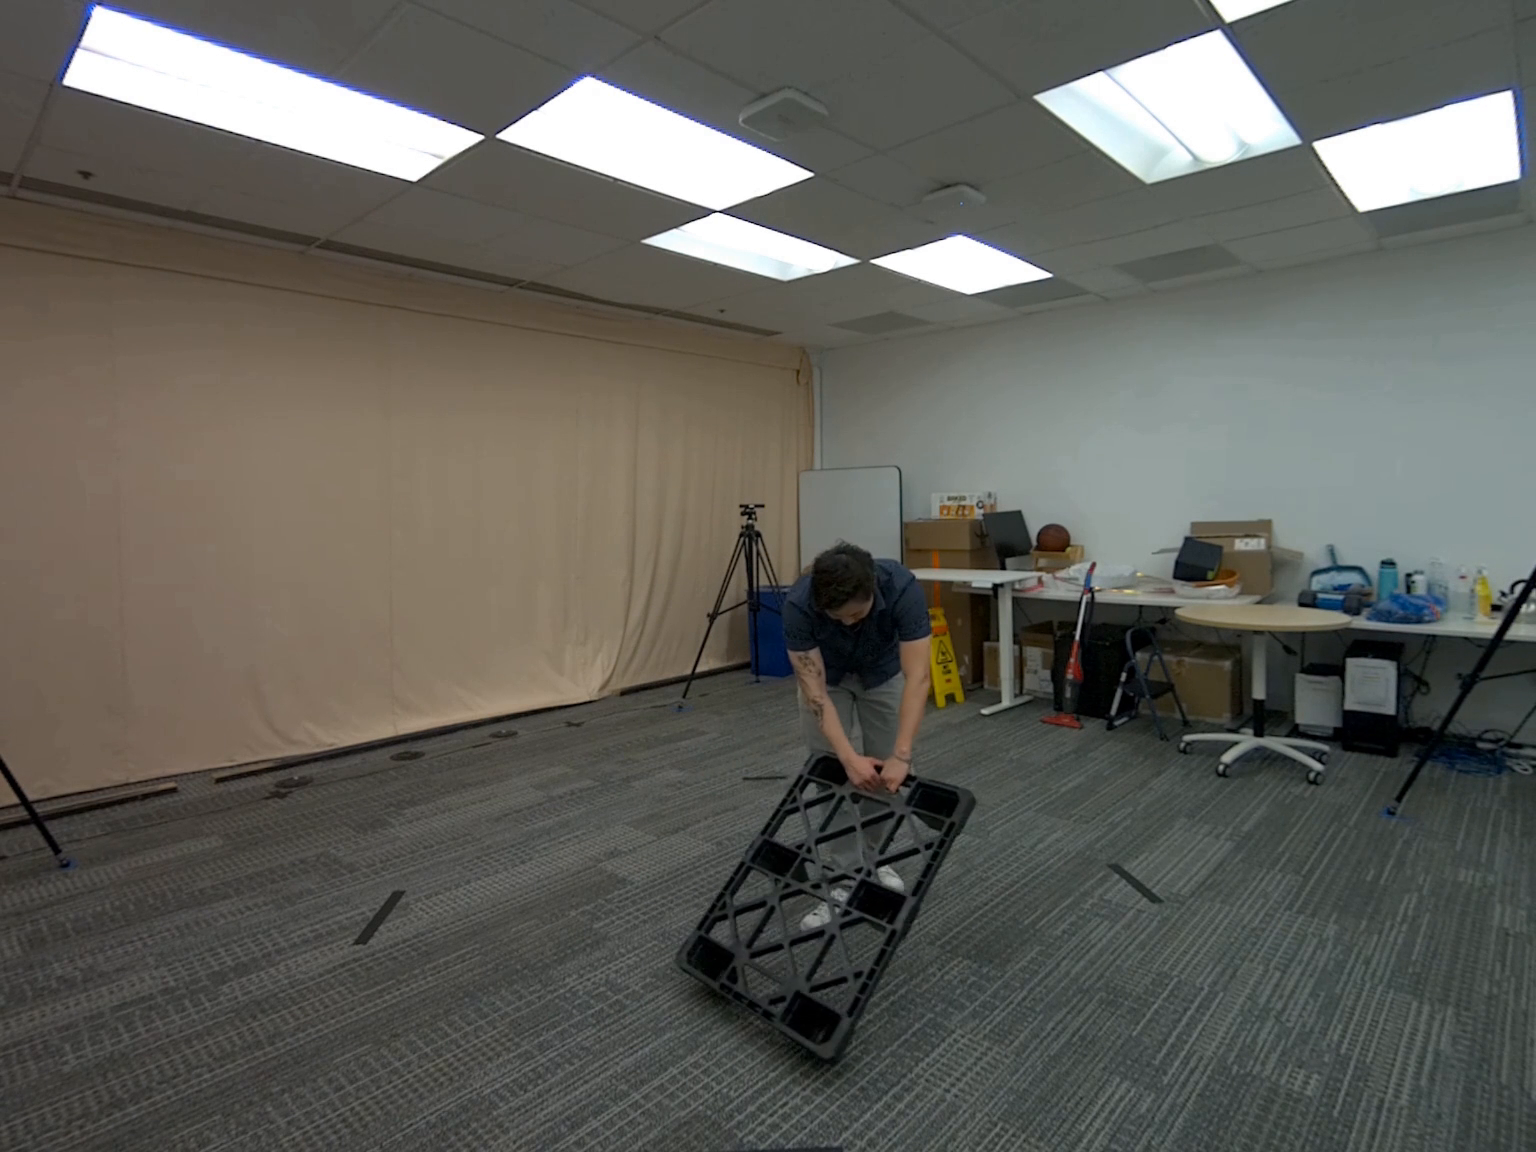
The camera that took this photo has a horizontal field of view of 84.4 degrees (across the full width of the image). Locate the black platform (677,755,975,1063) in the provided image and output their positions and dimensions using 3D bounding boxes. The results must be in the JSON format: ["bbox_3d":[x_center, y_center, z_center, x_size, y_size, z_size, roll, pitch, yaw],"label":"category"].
[{"bbox_3d":[0.198,0.902,2.424,0.625,0.139,0.801,5,47,46],"label":"black platform"}]
